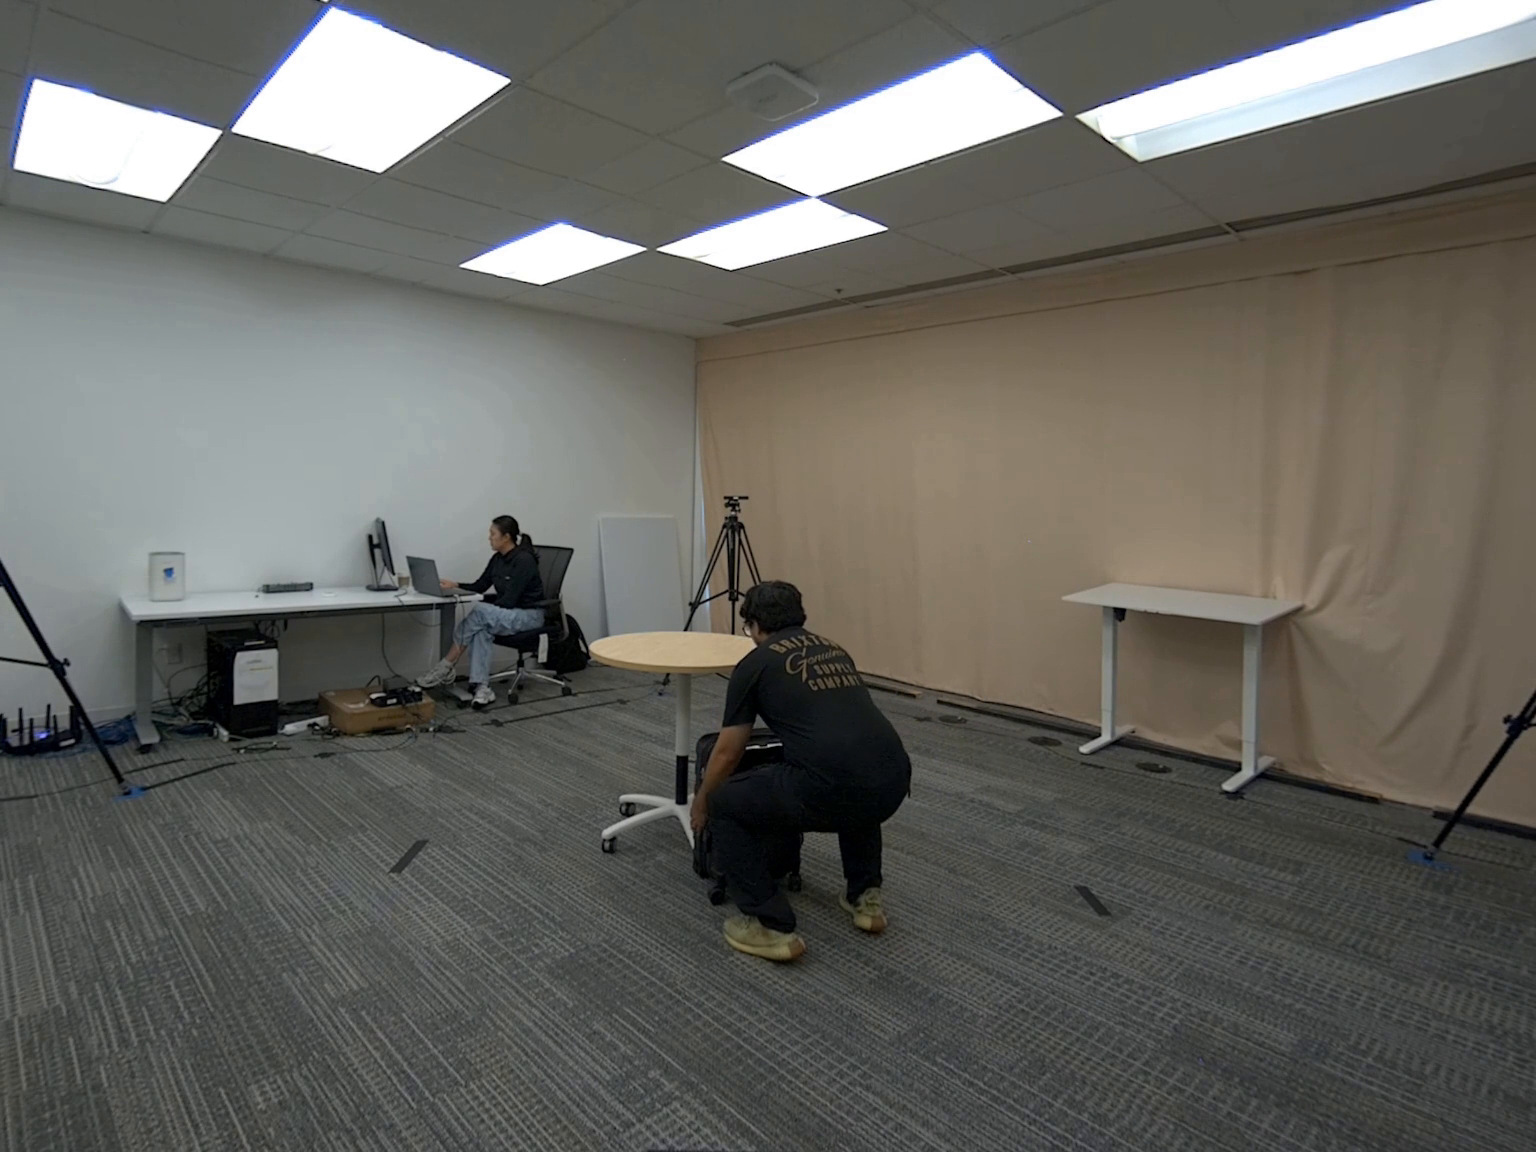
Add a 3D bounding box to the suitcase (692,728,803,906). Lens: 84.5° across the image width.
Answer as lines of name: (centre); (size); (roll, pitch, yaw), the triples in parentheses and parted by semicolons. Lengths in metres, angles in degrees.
suitcase: (-0.073, 0.834, 3.040); (0.369, 0.548, 0.253); (0, 3, -24)
